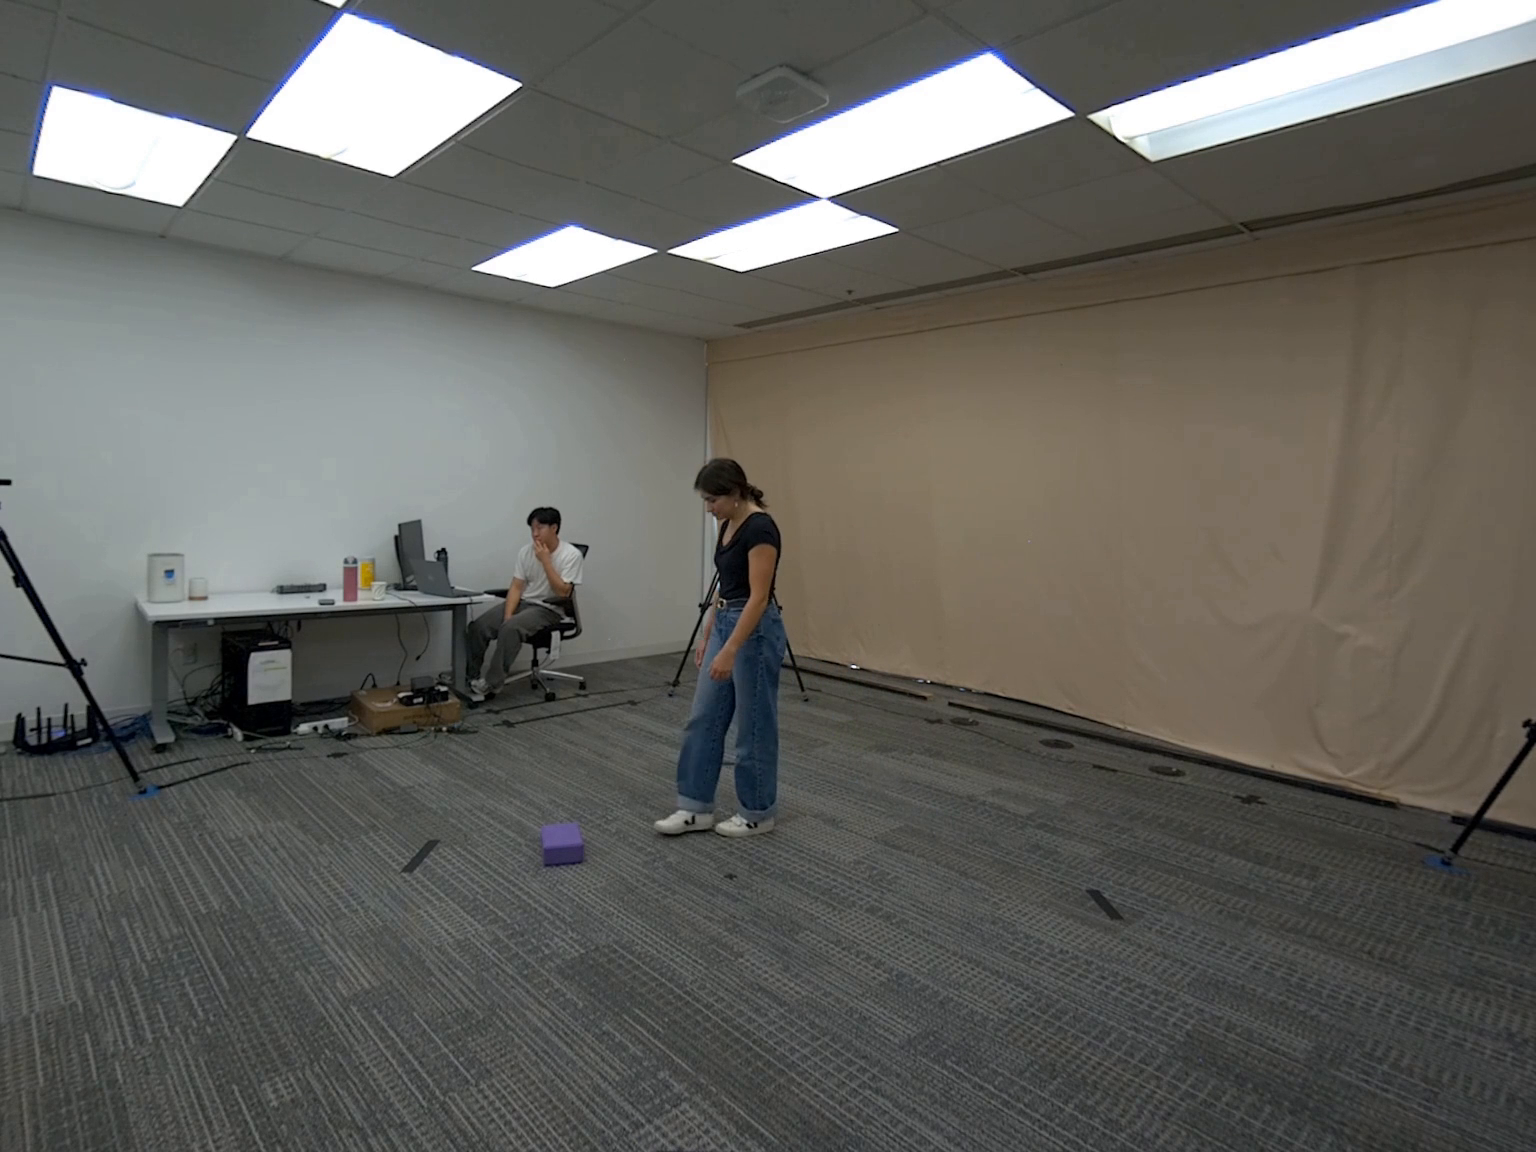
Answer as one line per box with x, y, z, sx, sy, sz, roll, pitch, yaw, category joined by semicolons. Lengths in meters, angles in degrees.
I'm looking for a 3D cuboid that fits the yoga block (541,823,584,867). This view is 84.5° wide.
-0.808;1.042;3.262;0.147;0.076;0.233;0;6;-16;yoga block
